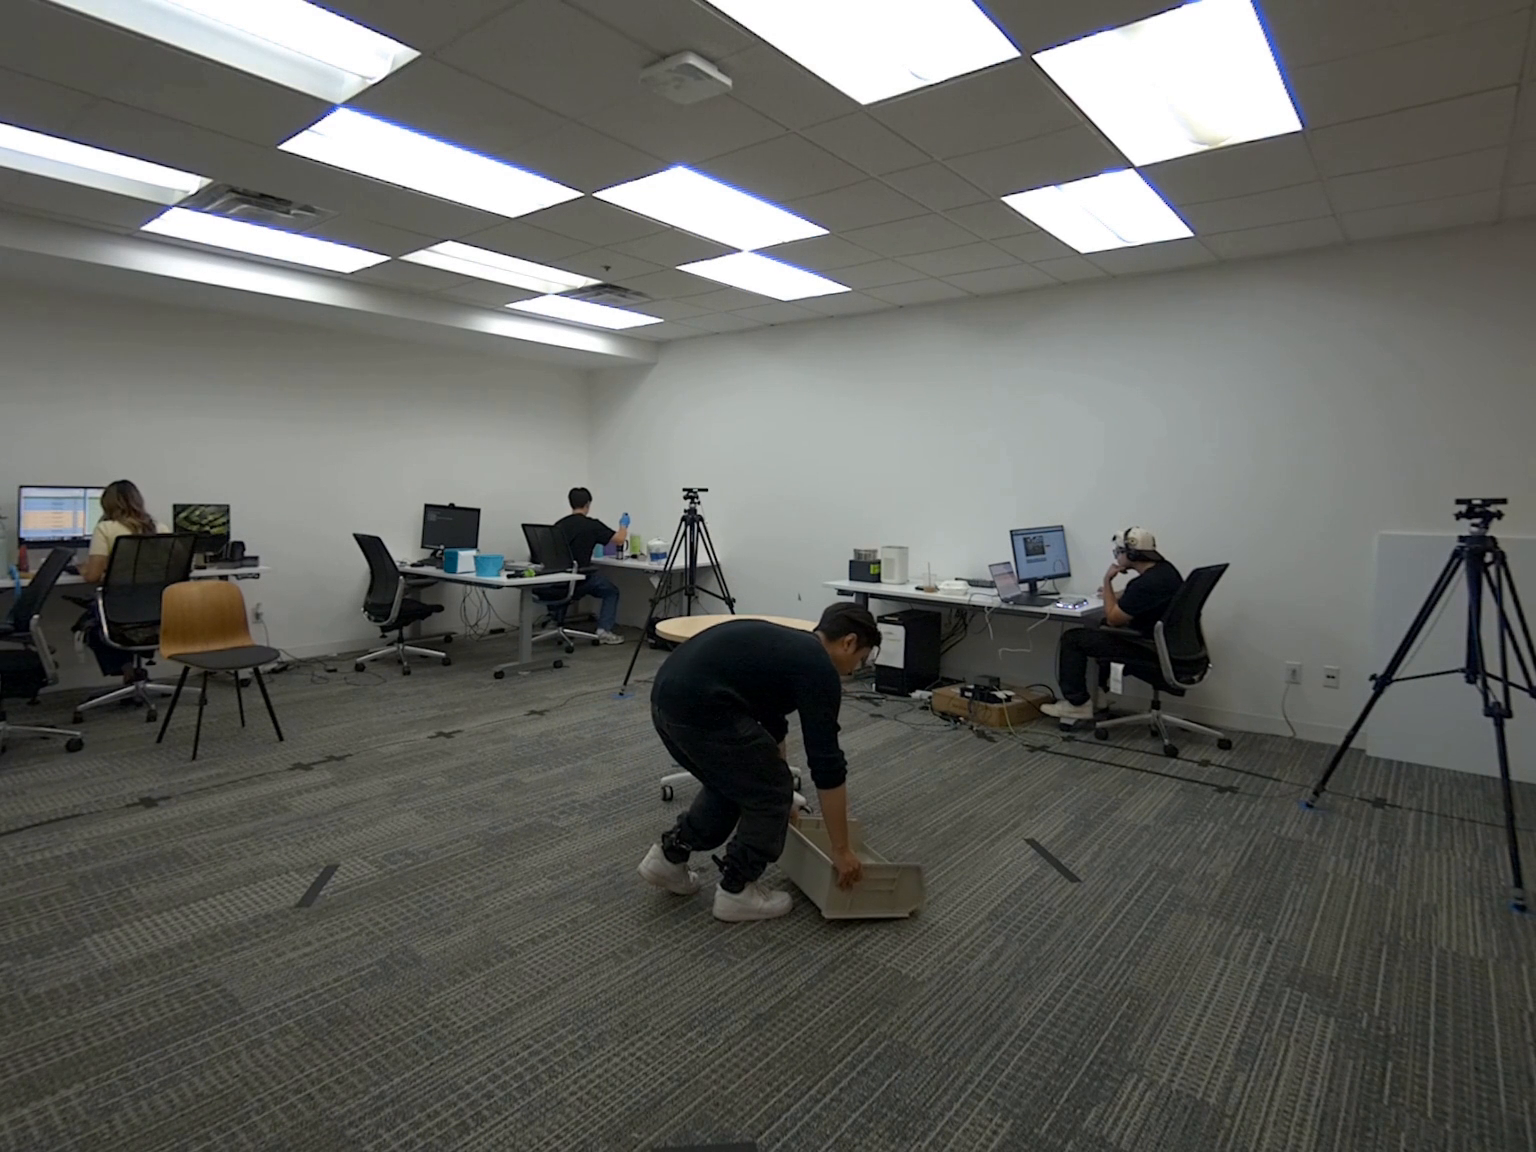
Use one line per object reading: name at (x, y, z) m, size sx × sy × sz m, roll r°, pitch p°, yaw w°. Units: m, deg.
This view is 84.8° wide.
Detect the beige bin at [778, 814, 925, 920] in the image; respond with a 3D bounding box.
beige bin at (0.265, 0.988, 2.920) m, size 0.368 × 0.188 × 0.434 m, roll 7°, pitch 4°, yaw -23°
